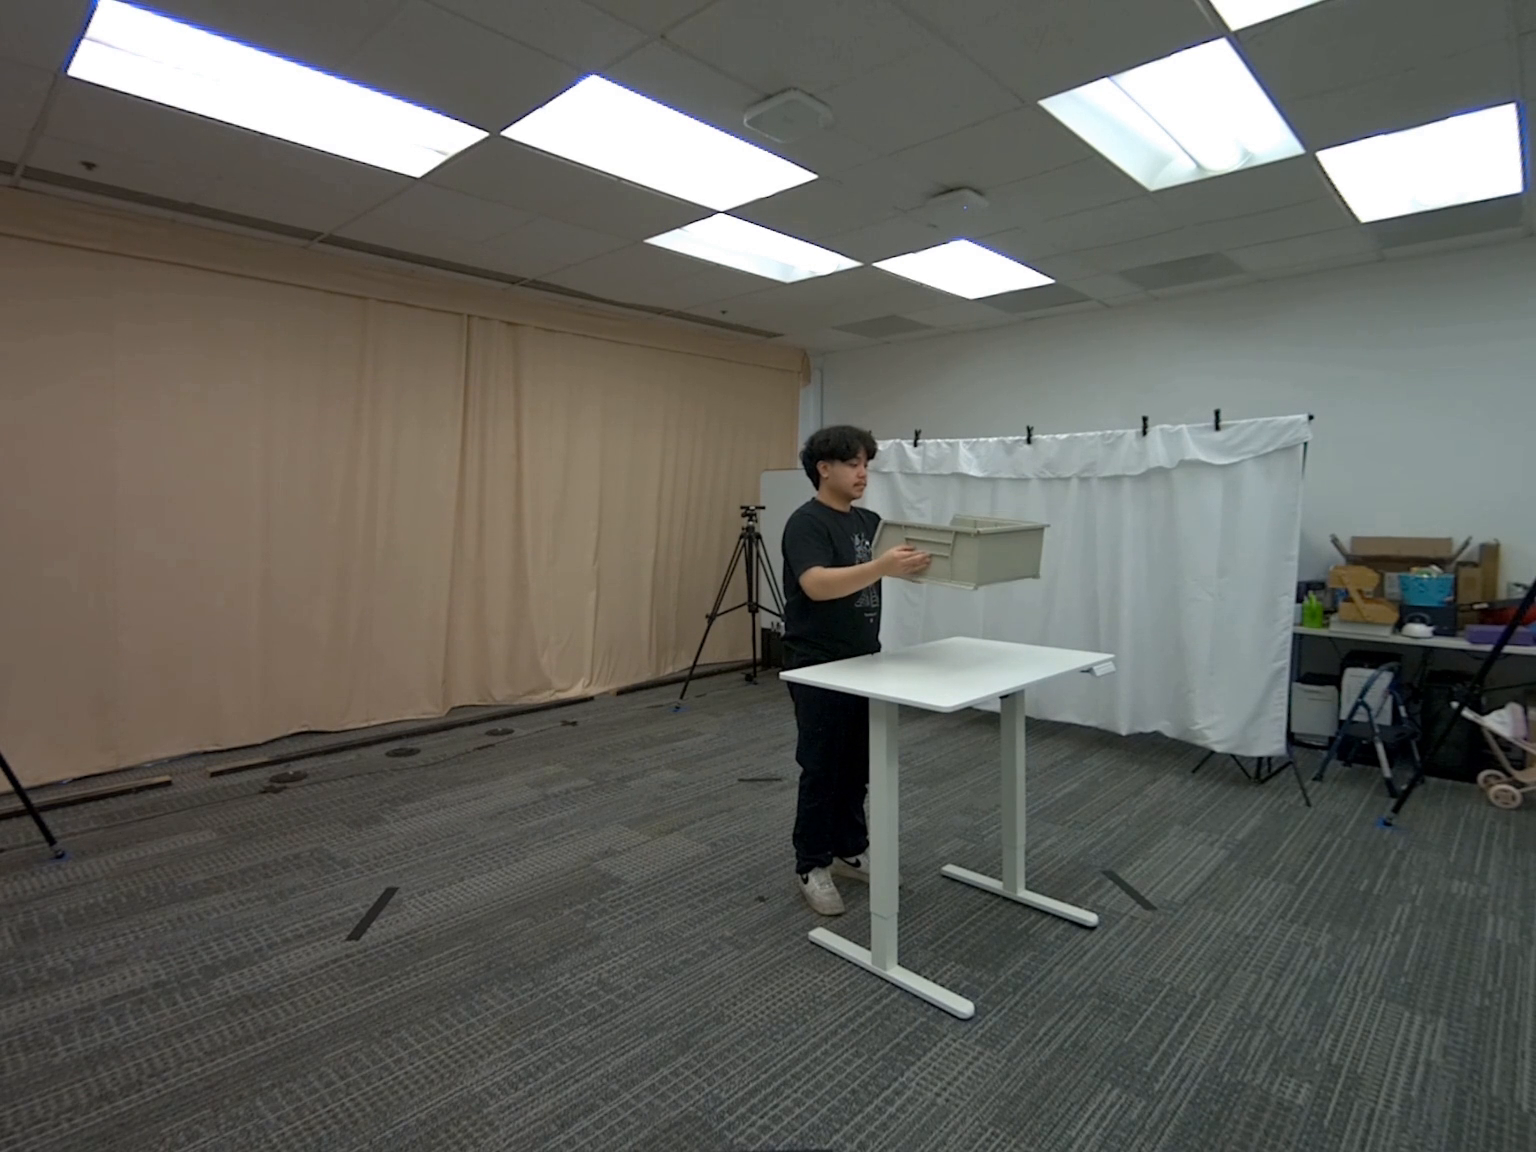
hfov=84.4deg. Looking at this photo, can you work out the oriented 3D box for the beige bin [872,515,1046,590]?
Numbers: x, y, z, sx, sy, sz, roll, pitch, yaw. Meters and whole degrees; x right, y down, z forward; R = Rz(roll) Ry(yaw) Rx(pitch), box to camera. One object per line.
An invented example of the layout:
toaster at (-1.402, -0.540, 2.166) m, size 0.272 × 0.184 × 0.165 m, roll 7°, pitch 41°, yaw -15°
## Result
beige bin at (0.606, -0.083, 2.667) m, size 0.409 × 0.188 × 0.391 m, roll -6°, pitch 12°, yaw -44°
